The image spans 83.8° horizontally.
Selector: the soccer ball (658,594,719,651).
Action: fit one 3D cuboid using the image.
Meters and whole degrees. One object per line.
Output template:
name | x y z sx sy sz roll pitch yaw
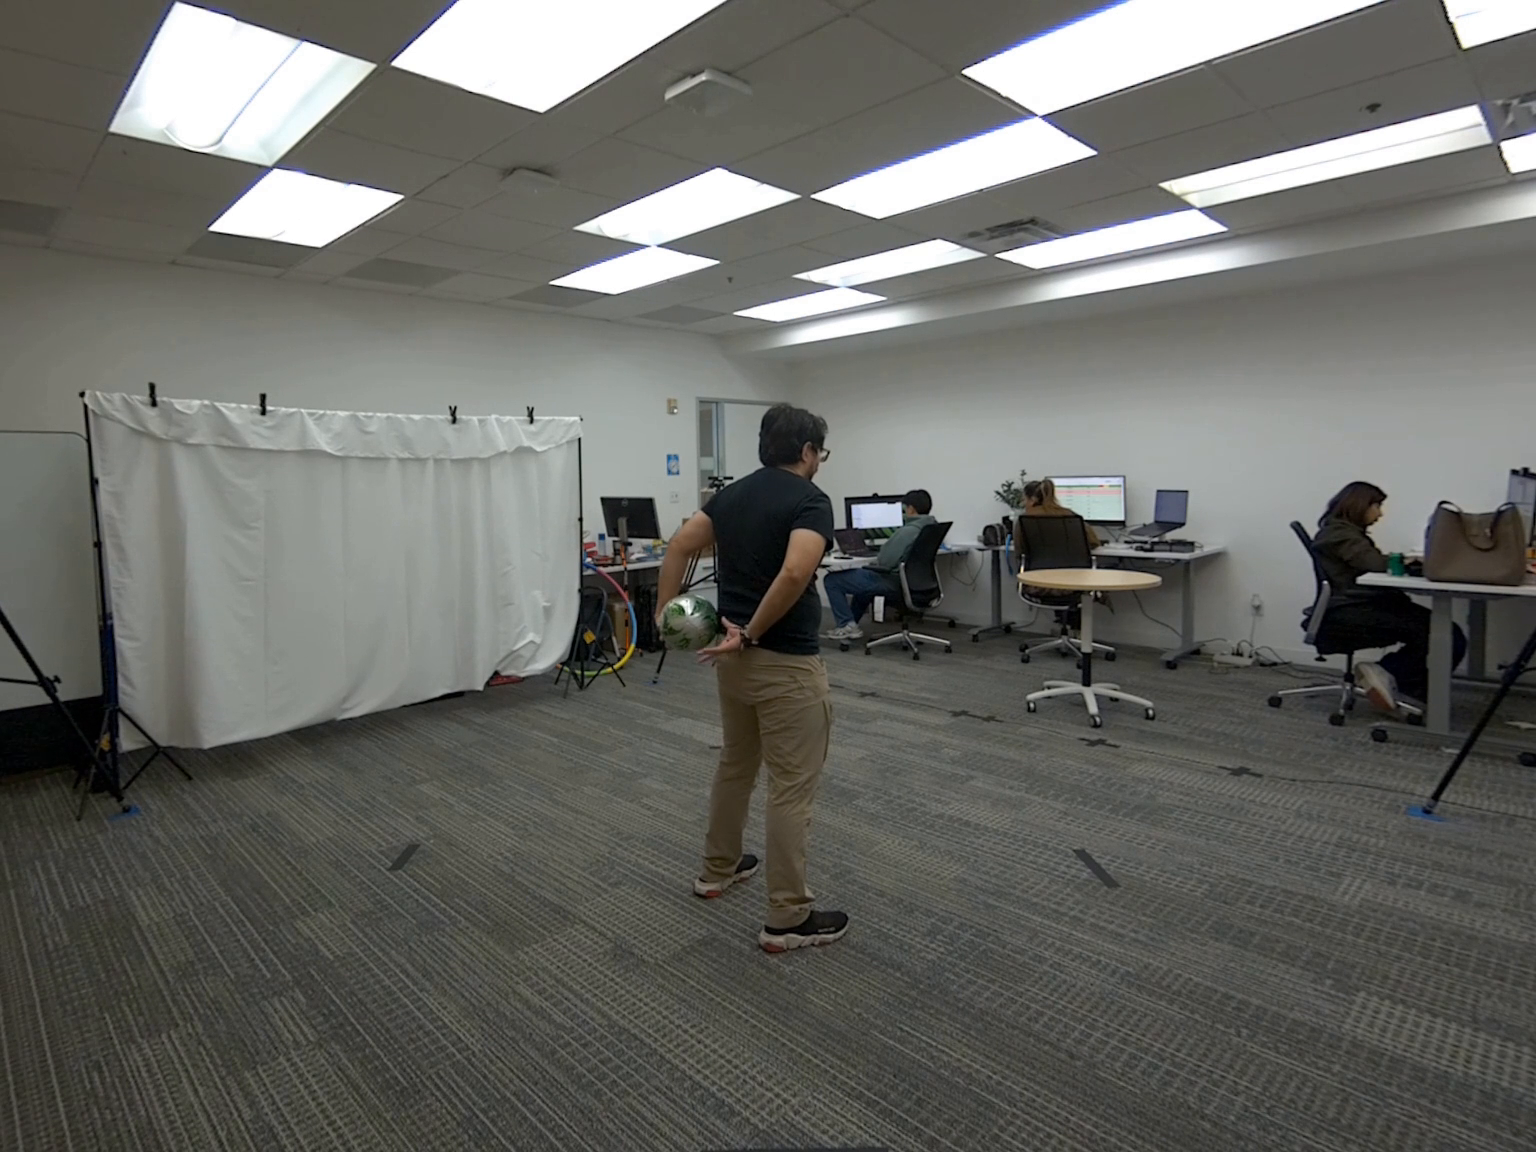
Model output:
soccer ball | -0.246 0.147 2.708 0.187 0.187 0.188 -1 5 -2
